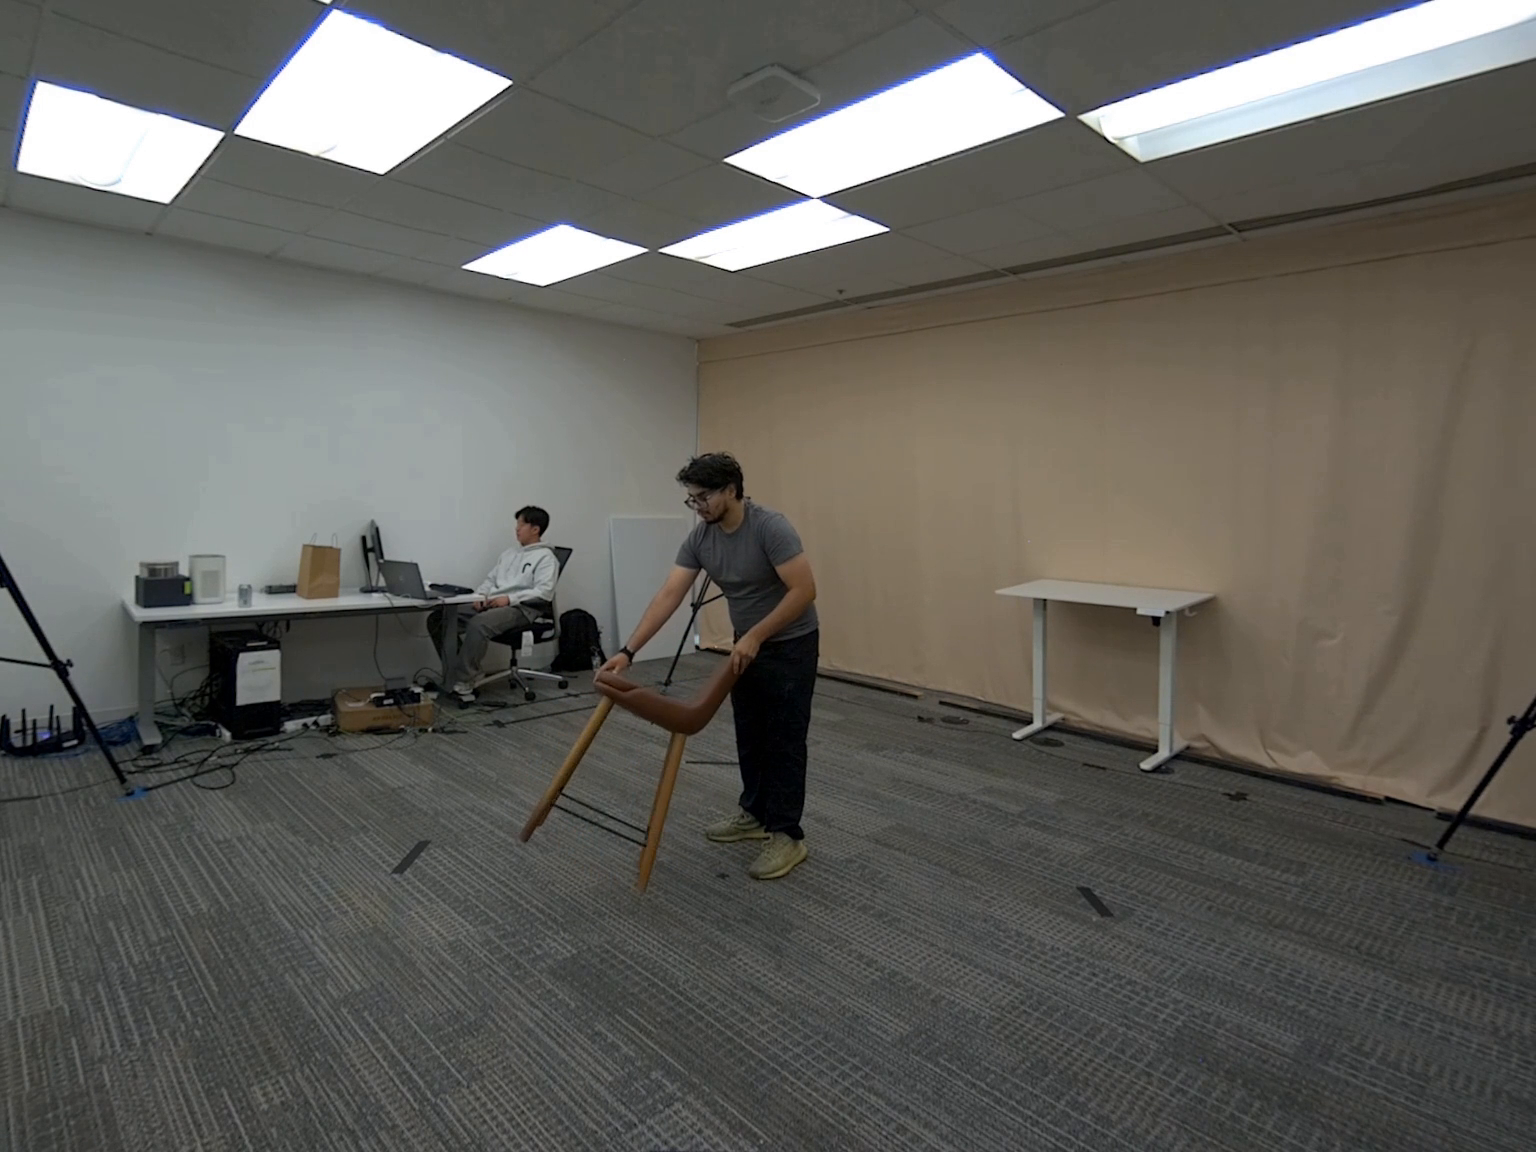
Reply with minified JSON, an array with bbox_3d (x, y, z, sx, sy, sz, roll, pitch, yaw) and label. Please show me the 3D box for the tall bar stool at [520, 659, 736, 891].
[{"bbox_3d":[-0.474,0.600,3.032,0.467,0.893,0.455,25,-13,-1],"label":"tall bar stool"}]
